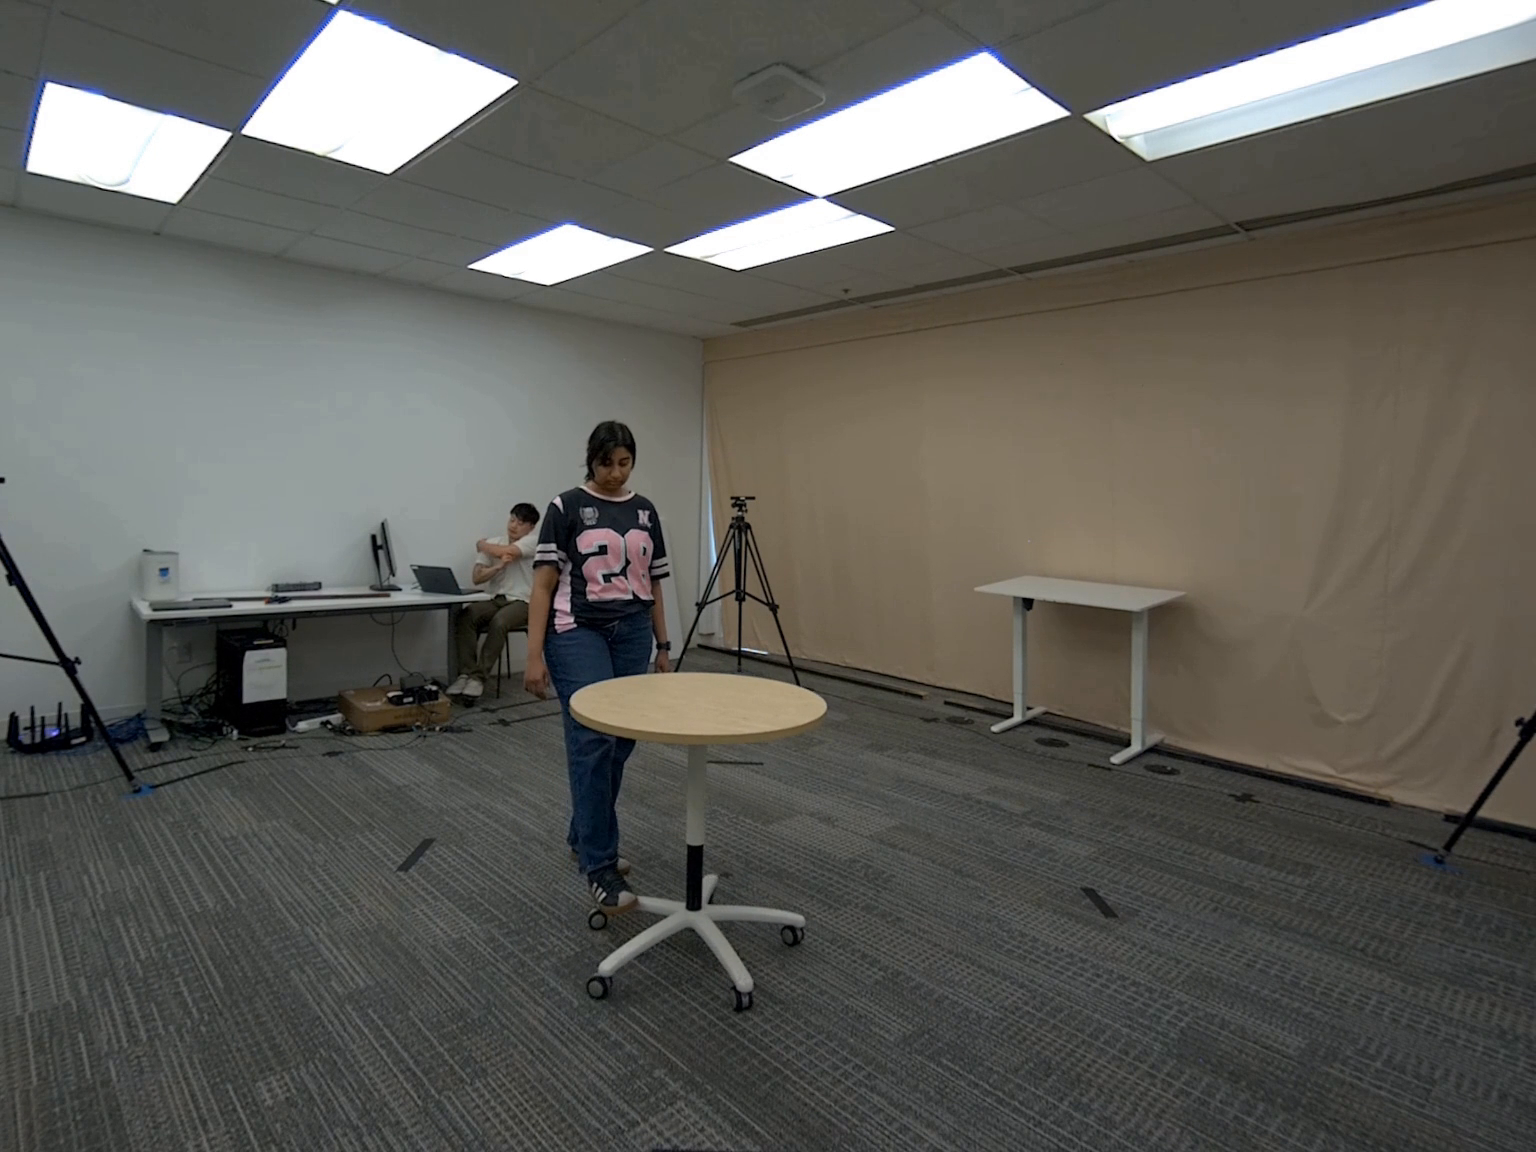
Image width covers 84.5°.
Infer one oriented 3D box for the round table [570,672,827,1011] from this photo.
[{"bbox_3d":[-0.230,0.766,2.549,0.763,0.792,0.767,2,4,-1],"label":"round table"}]
